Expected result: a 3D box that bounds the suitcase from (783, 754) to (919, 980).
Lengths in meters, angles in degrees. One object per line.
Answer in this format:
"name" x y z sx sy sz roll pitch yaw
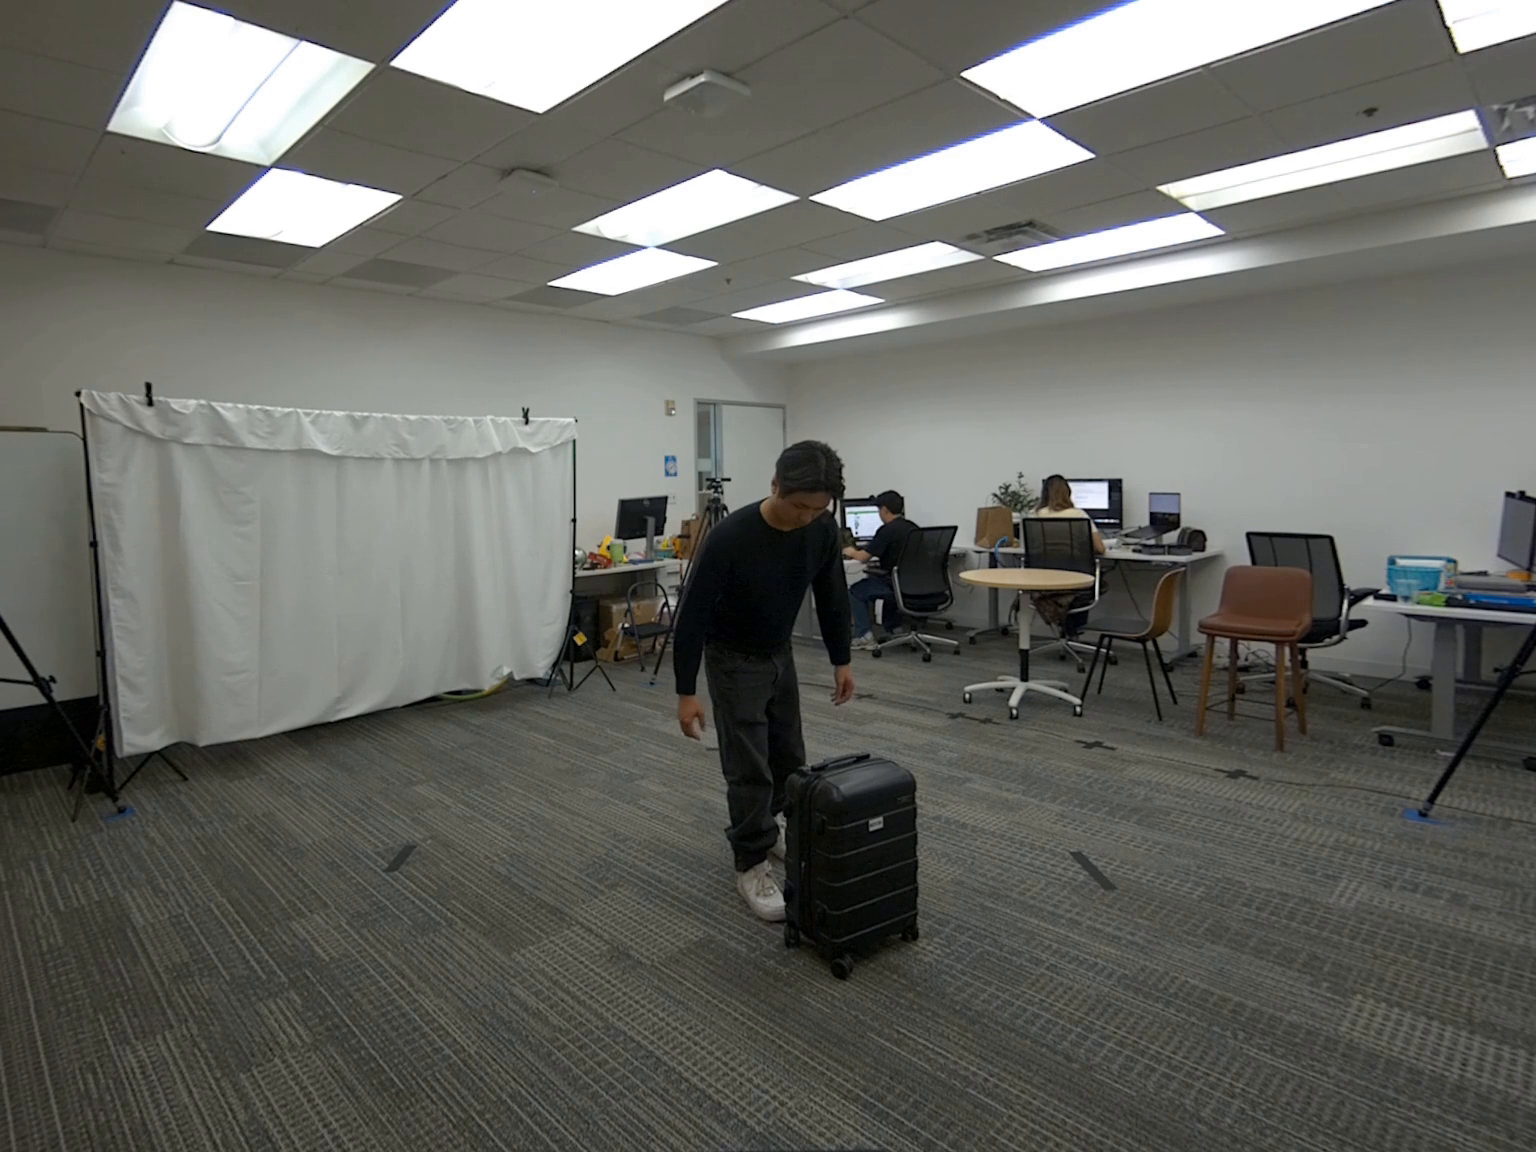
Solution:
"suitcase" 0.255 0.824 2.546 0.366 0.547 0.255 -3 4 -32
